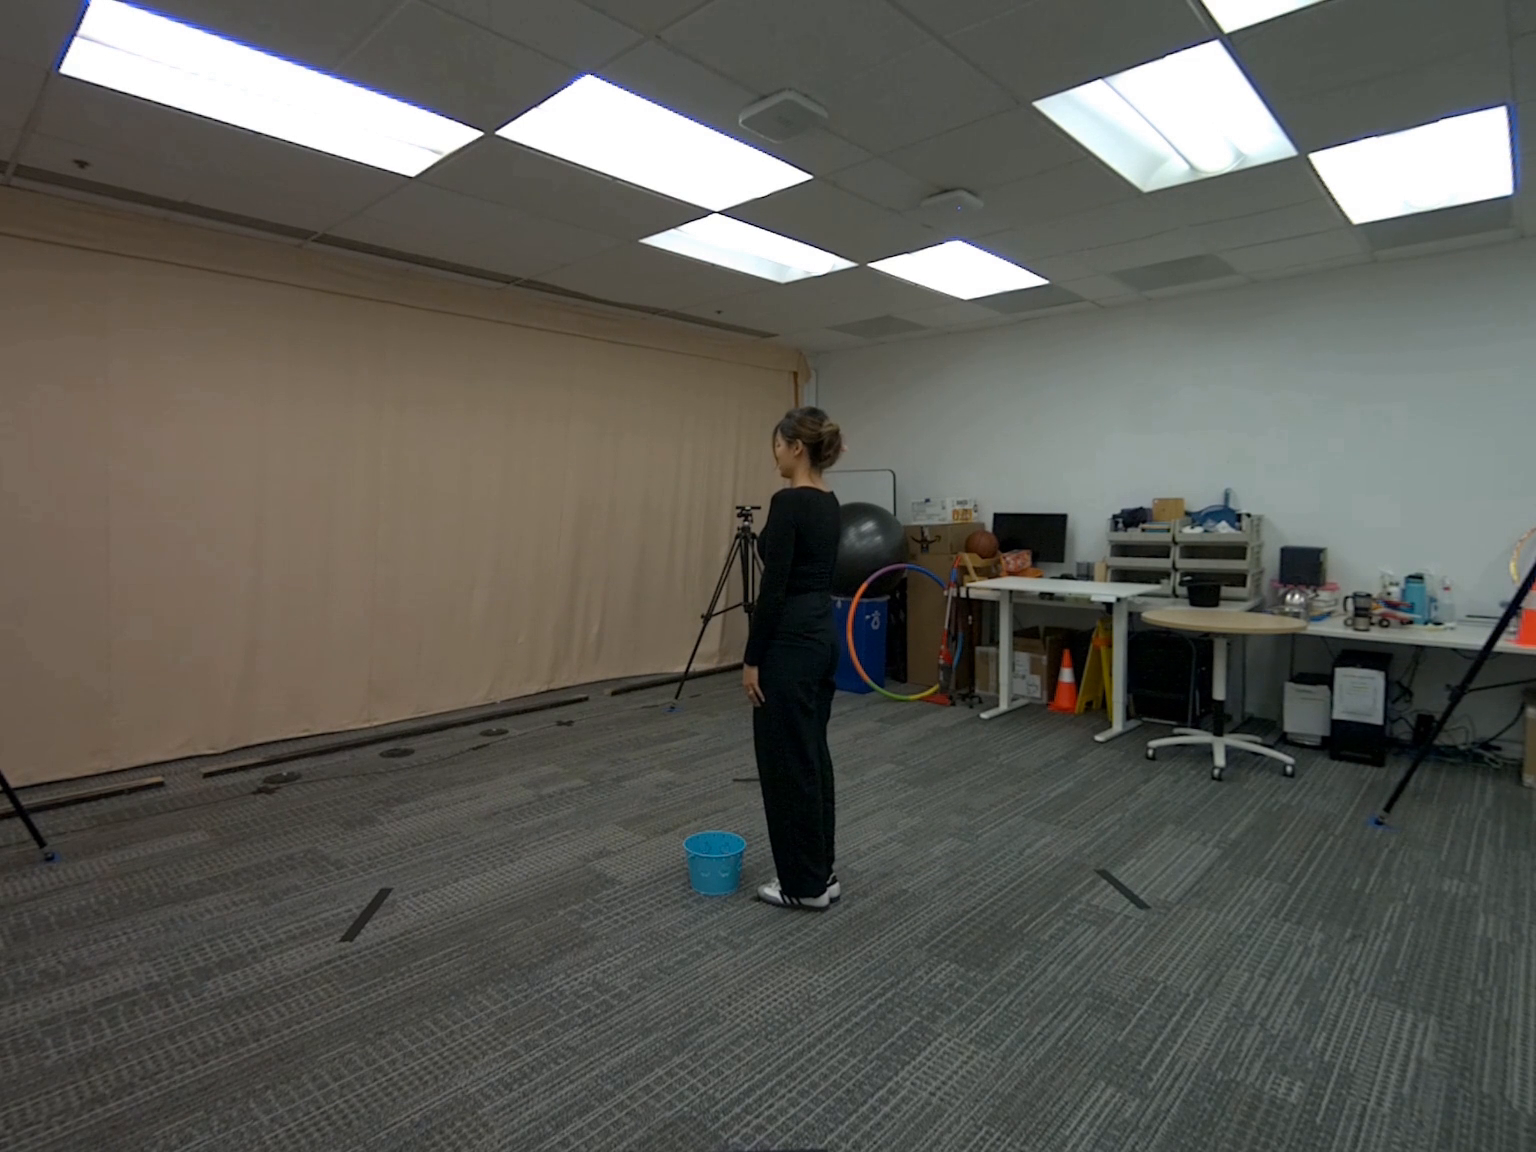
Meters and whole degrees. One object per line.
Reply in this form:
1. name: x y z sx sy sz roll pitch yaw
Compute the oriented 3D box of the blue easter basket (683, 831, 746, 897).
1. blue easter basket: -0.194 1.058 3.107 0.243 0.155 0.244 -1 5 -2
